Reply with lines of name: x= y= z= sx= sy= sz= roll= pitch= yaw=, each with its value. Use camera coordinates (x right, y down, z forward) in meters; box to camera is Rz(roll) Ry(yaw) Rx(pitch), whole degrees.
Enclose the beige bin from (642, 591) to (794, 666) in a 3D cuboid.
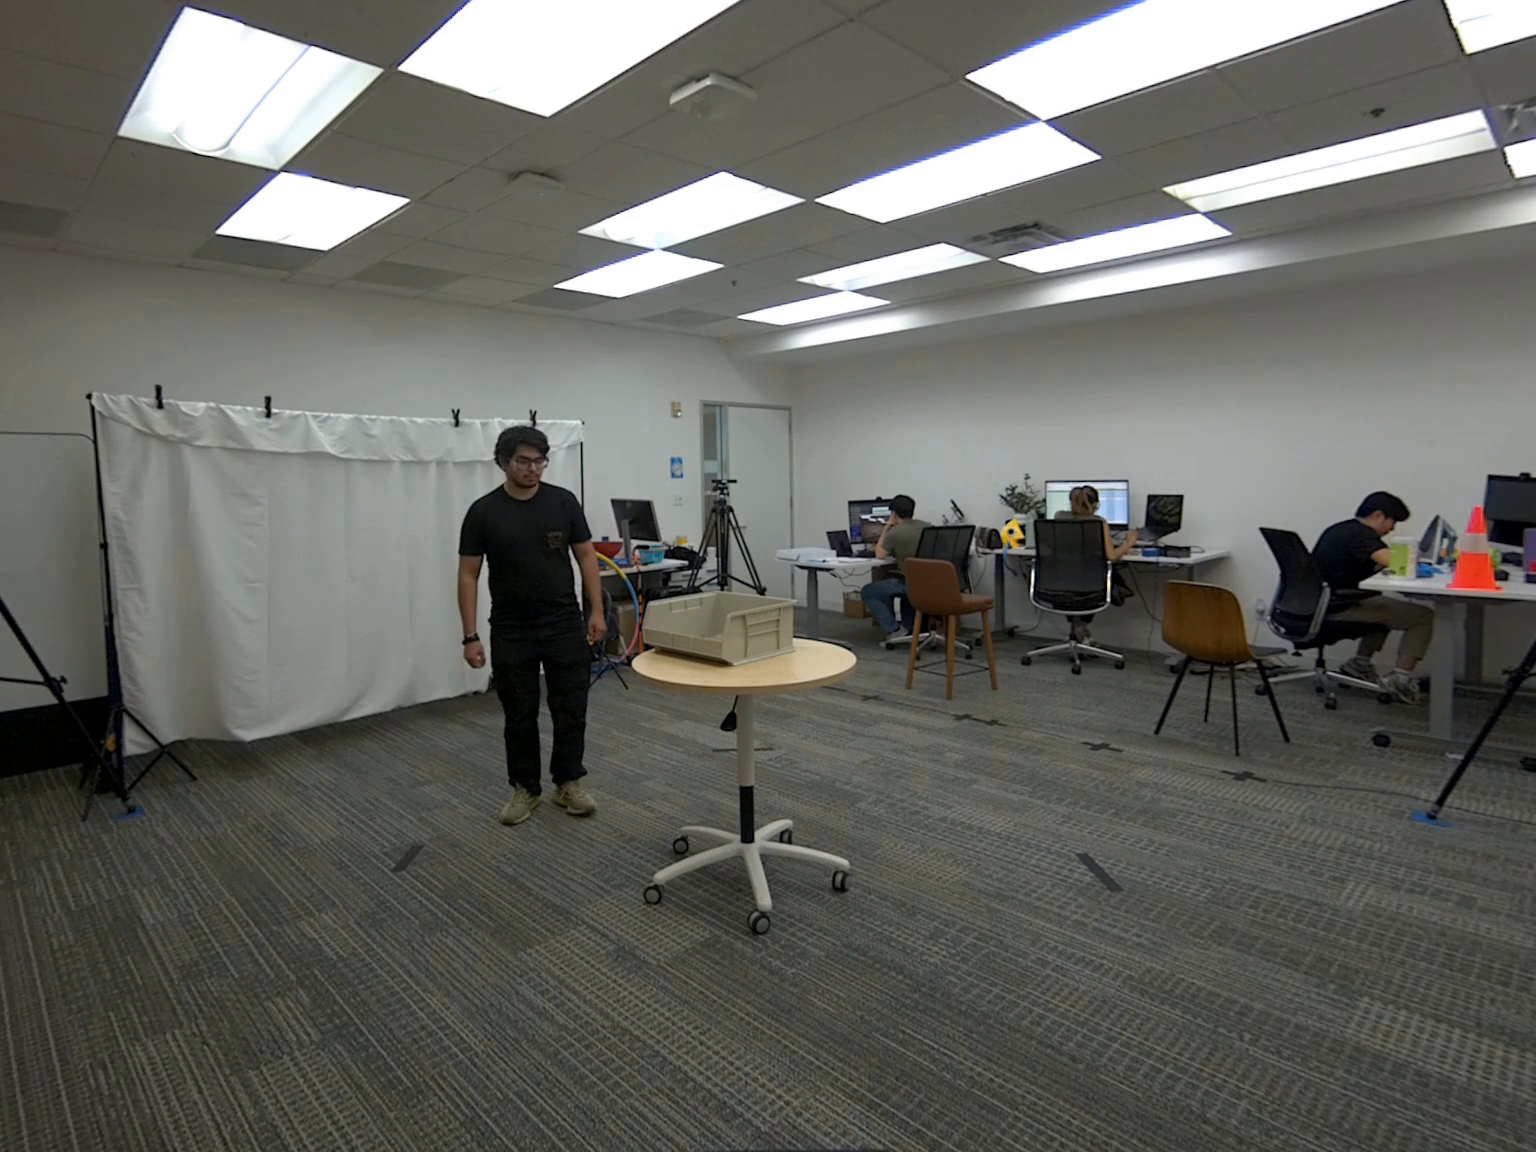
beige bin: x=-0.169 y=0.182 z=3.046 sx=0.435 sy=0.188 sz=0.367 roll=5 pitch=7 yaw=44
